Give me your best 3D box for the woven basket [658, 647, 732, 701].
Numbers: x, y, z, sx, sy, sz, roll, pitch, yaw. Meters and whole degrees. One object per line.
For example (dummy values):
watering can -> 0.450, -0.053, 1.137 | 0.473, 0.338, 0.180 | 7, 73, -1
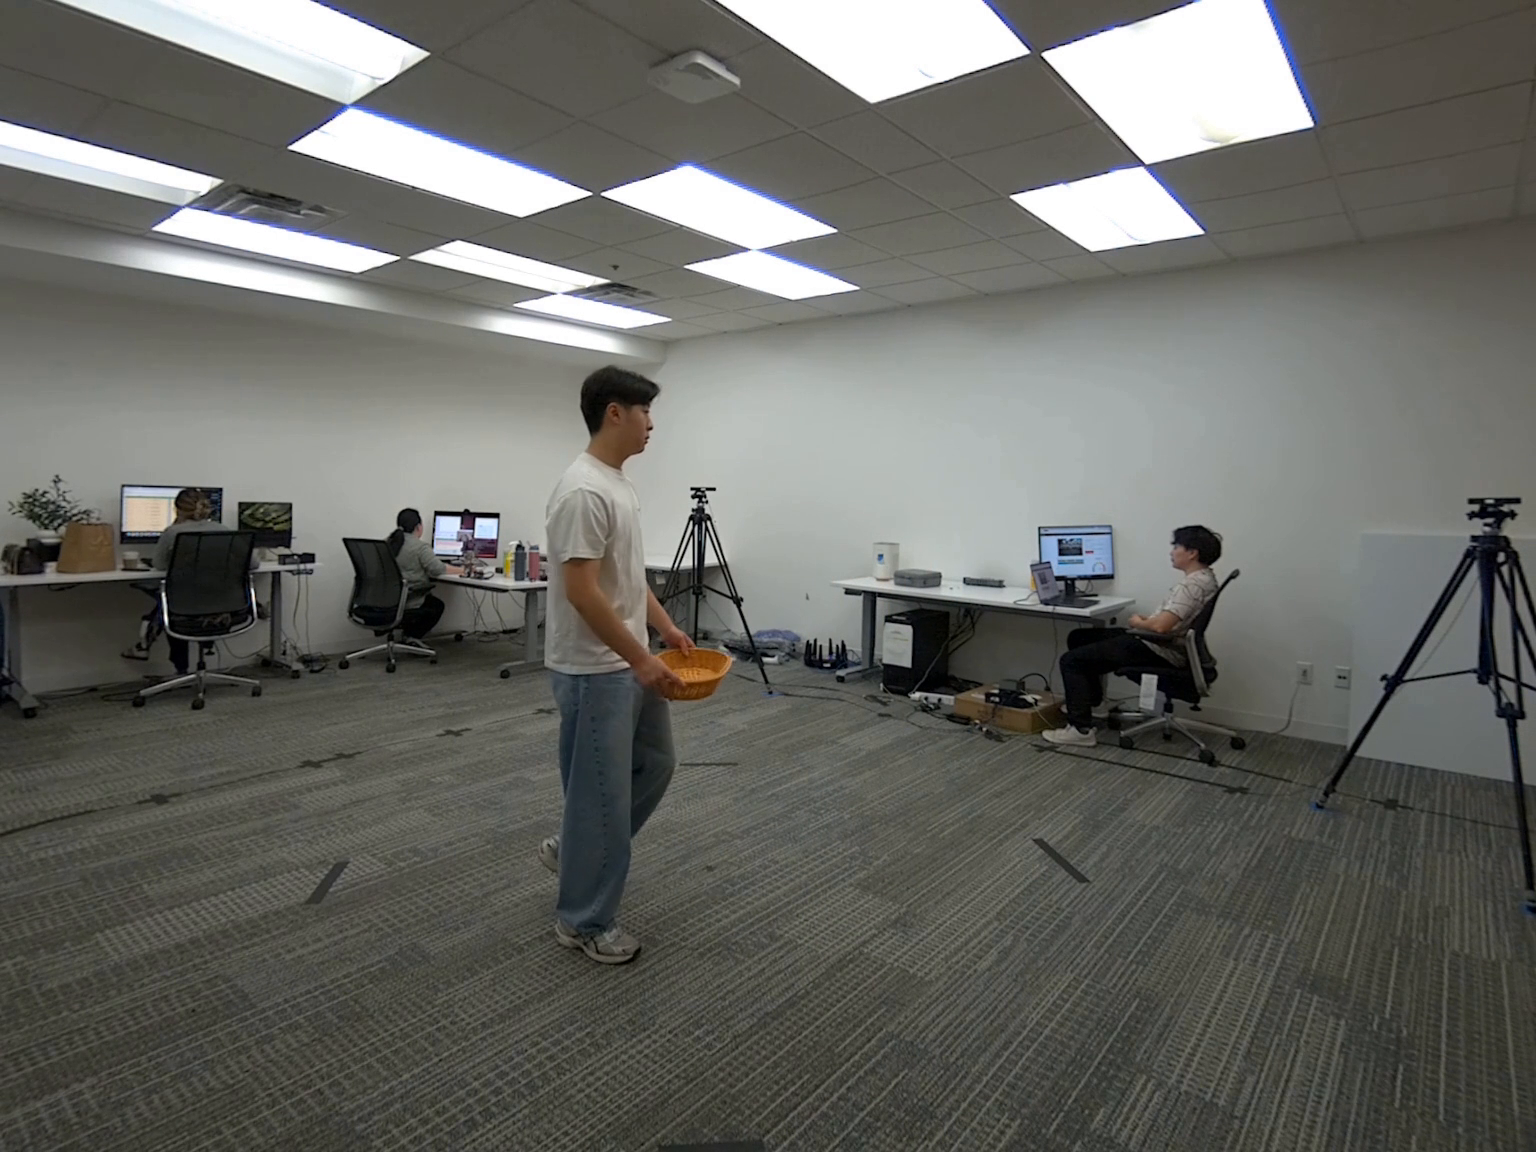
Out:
woven basket -> -0.268, 0.304, 2.558 | 0.257, 0.073, 0.347 | 3, 10, 14
